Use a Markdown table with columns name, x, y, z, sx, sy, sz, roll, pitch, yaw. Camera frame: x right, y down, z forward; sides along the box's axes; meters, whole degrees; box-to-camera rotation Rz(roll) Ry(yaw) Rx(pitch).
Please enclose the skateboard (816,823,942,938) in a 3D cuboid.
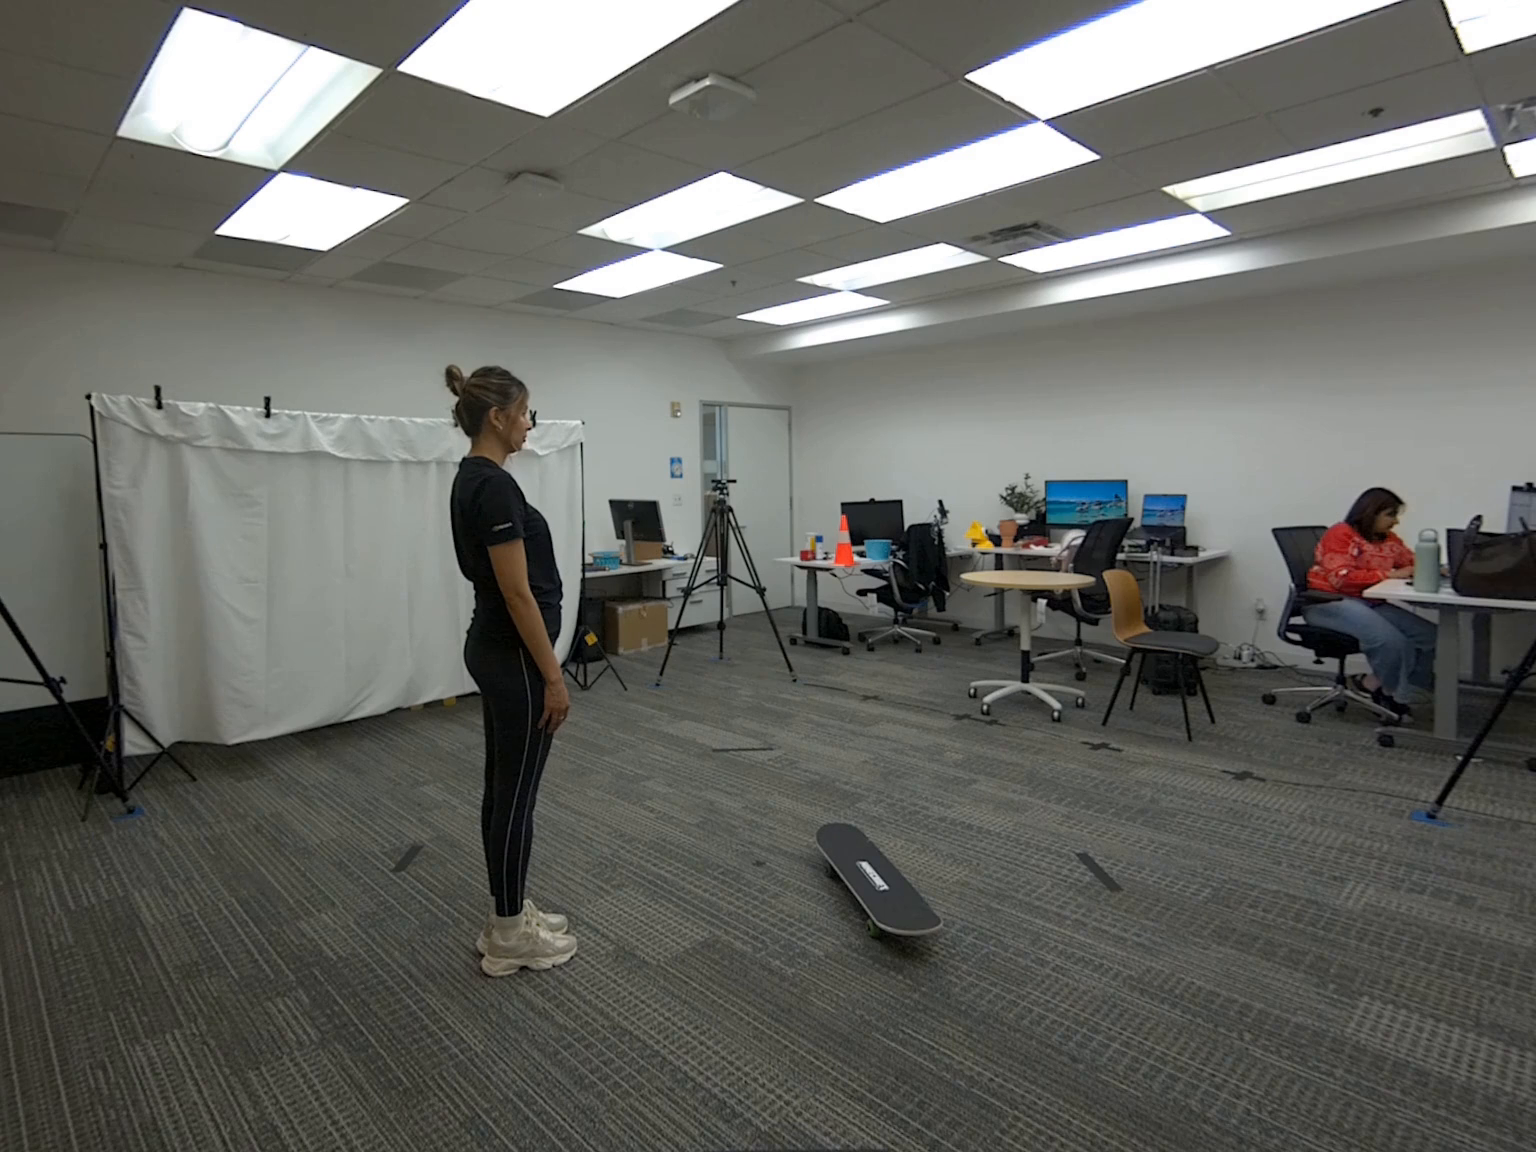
| name | x | y | z | sx | sy | sz | roll | pitch | yaw |
| --- | --- | --- | --- | --- | --- | --- | --- | --- | --- |
| skateboard | 0.350 | 1.016 | 2.815 | 0.191 | 0.110 | 0.798 | -3 | 6 | -14 |
